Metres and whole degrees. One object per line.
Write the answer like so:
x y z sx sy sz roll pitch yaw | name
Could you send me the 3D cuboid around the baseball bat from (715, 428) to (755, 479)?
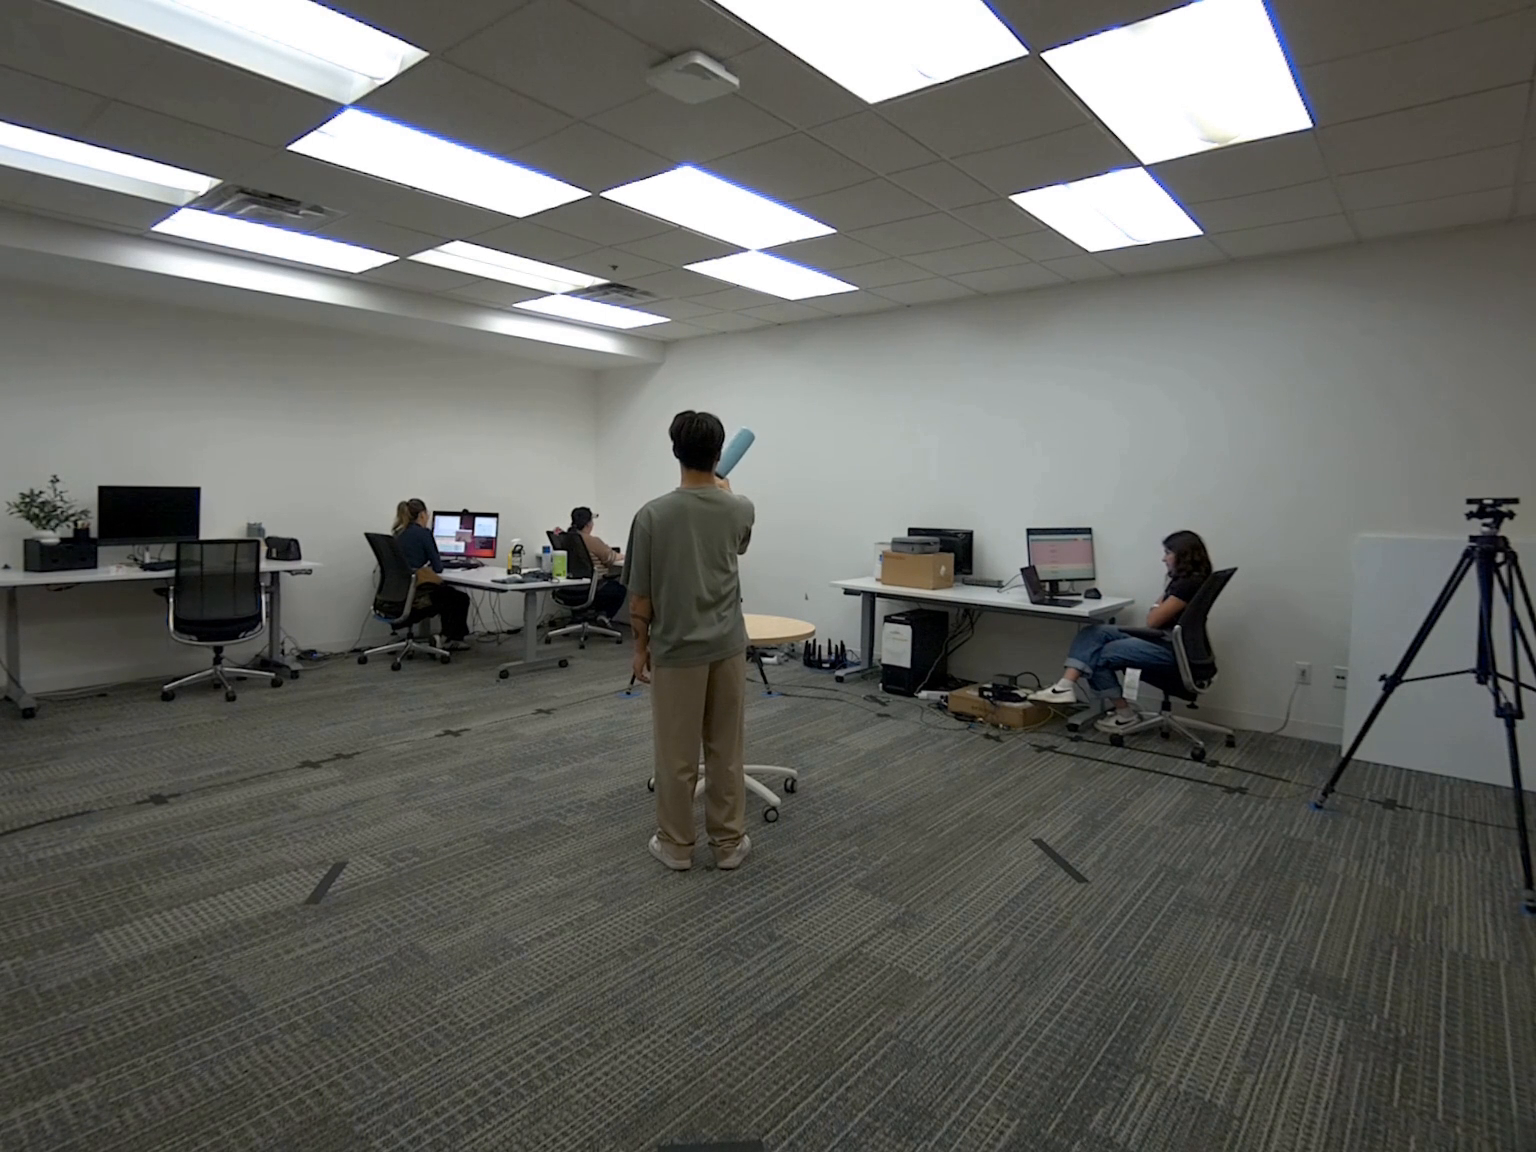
-0.245 -0.432 3.721 0.090 0.544 0.088 34 -11 5 | baseball bat
